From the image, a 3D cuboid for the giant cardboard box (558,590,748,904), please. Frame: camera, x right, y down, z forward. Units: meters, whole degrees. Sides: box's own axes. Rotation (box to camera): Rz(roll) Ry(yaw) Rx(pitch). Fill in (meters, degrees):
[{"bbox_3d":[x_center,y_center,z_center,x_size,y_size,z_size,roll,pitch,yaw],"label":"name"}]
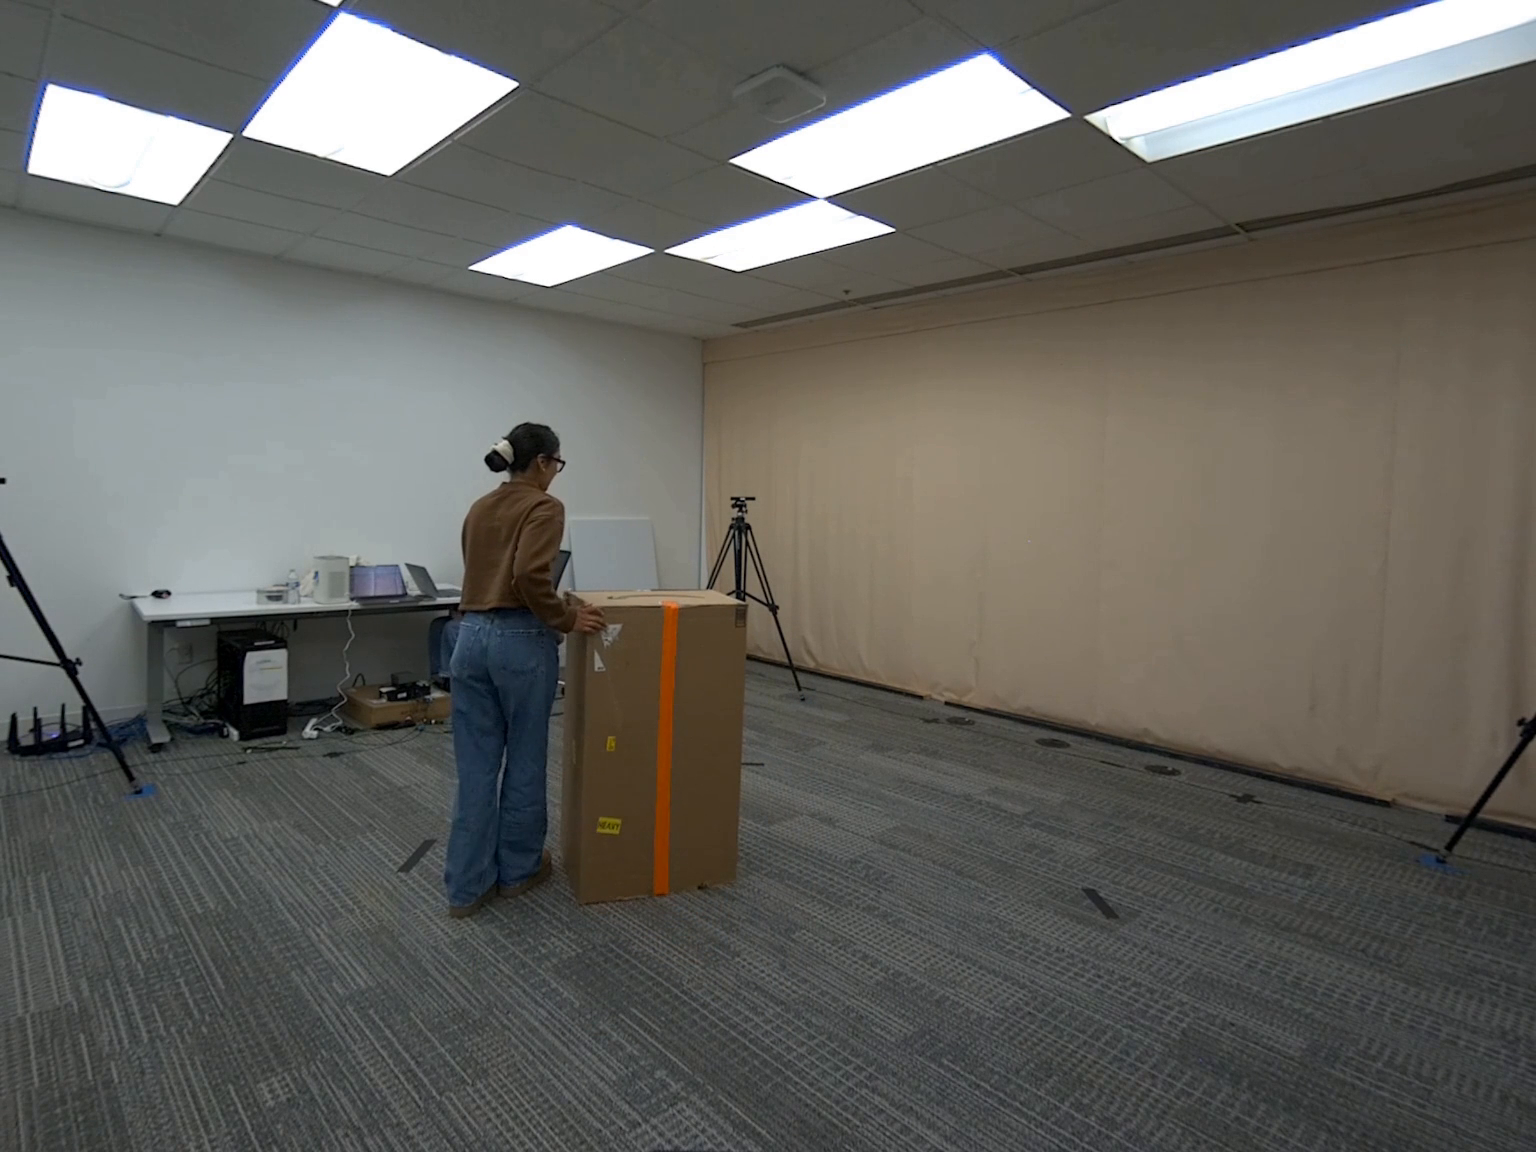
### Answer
[{"bbox_3d":[-0.439,0.589,3.118,0.568,1.023,0.434,0,4,-22],"label":"giant cardboard box"}]
